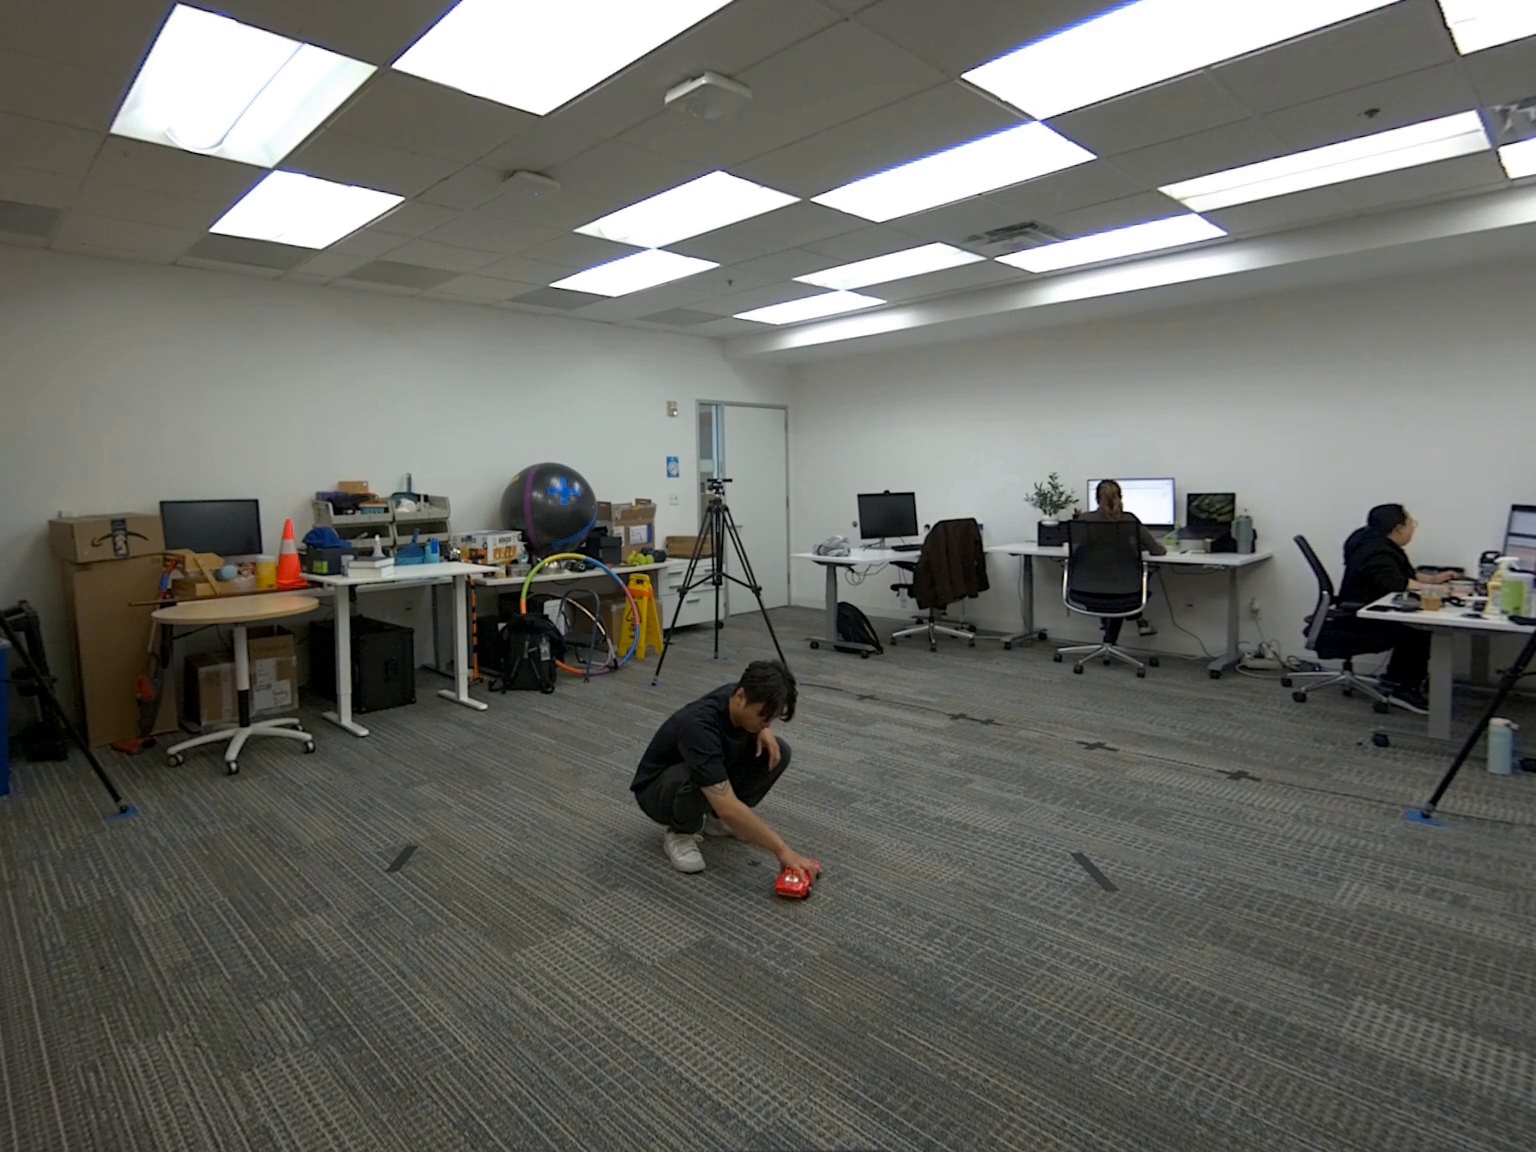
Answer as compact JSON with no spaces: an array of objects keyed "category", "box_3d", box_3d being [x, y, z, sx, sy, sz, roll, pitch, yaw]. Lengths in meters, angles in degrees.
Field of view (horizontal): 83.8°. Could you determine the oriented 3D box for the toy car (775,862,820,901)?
[{"category":"toy car","box_3d":[0.101,1.035,2.908,0.133,0.083,0.248,2,-5,20]}]
